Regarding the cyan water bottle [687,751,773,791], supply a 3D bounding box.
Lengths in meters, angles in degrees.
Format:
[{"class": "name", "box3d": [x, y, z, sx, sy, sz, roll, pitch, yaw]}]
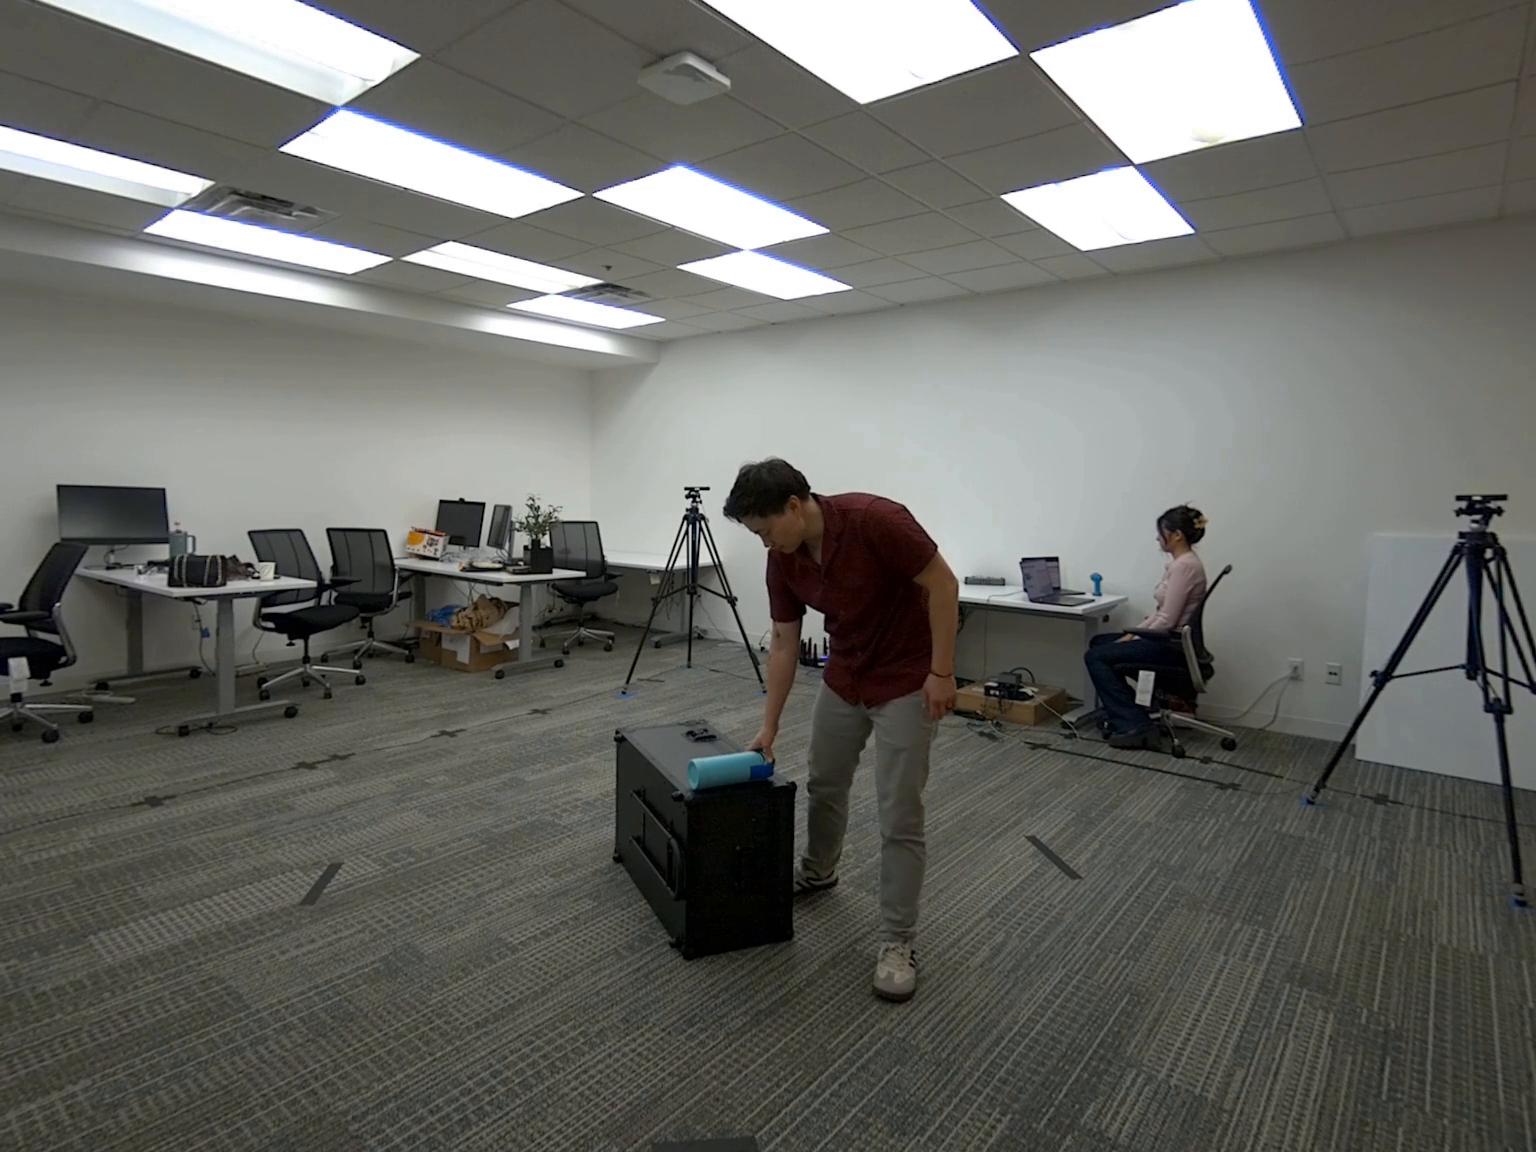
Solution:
[{"class": "cyan water bottle", "box3d": [-0.117, 0.587, 2.614, 0.276, 0.092, 0.095, 0, 4, -26]}]
